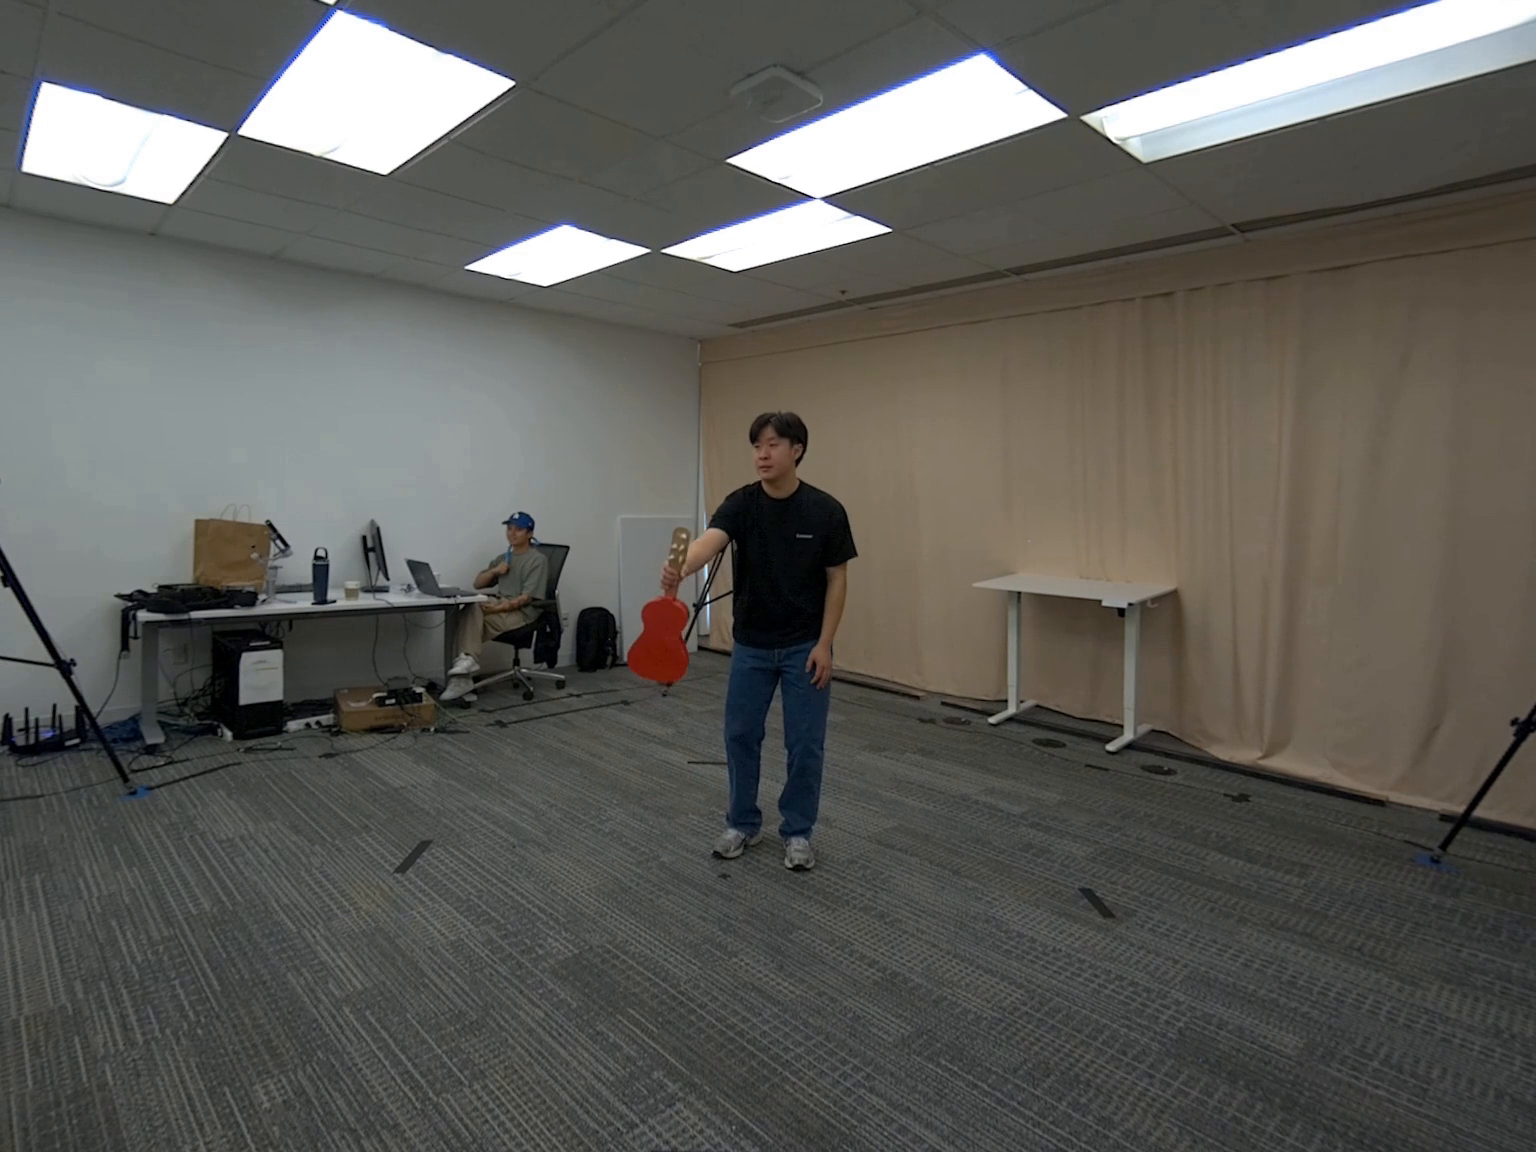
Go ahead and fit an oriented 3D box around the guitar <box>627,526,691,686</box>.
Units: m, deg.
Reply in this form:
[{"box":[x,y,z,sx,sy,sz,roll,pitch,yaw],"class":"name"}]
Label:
[{"box":[-0.345,0.098,2.689,0.194,0.494,0.071,4,10,8],"class":"guitar"}]
